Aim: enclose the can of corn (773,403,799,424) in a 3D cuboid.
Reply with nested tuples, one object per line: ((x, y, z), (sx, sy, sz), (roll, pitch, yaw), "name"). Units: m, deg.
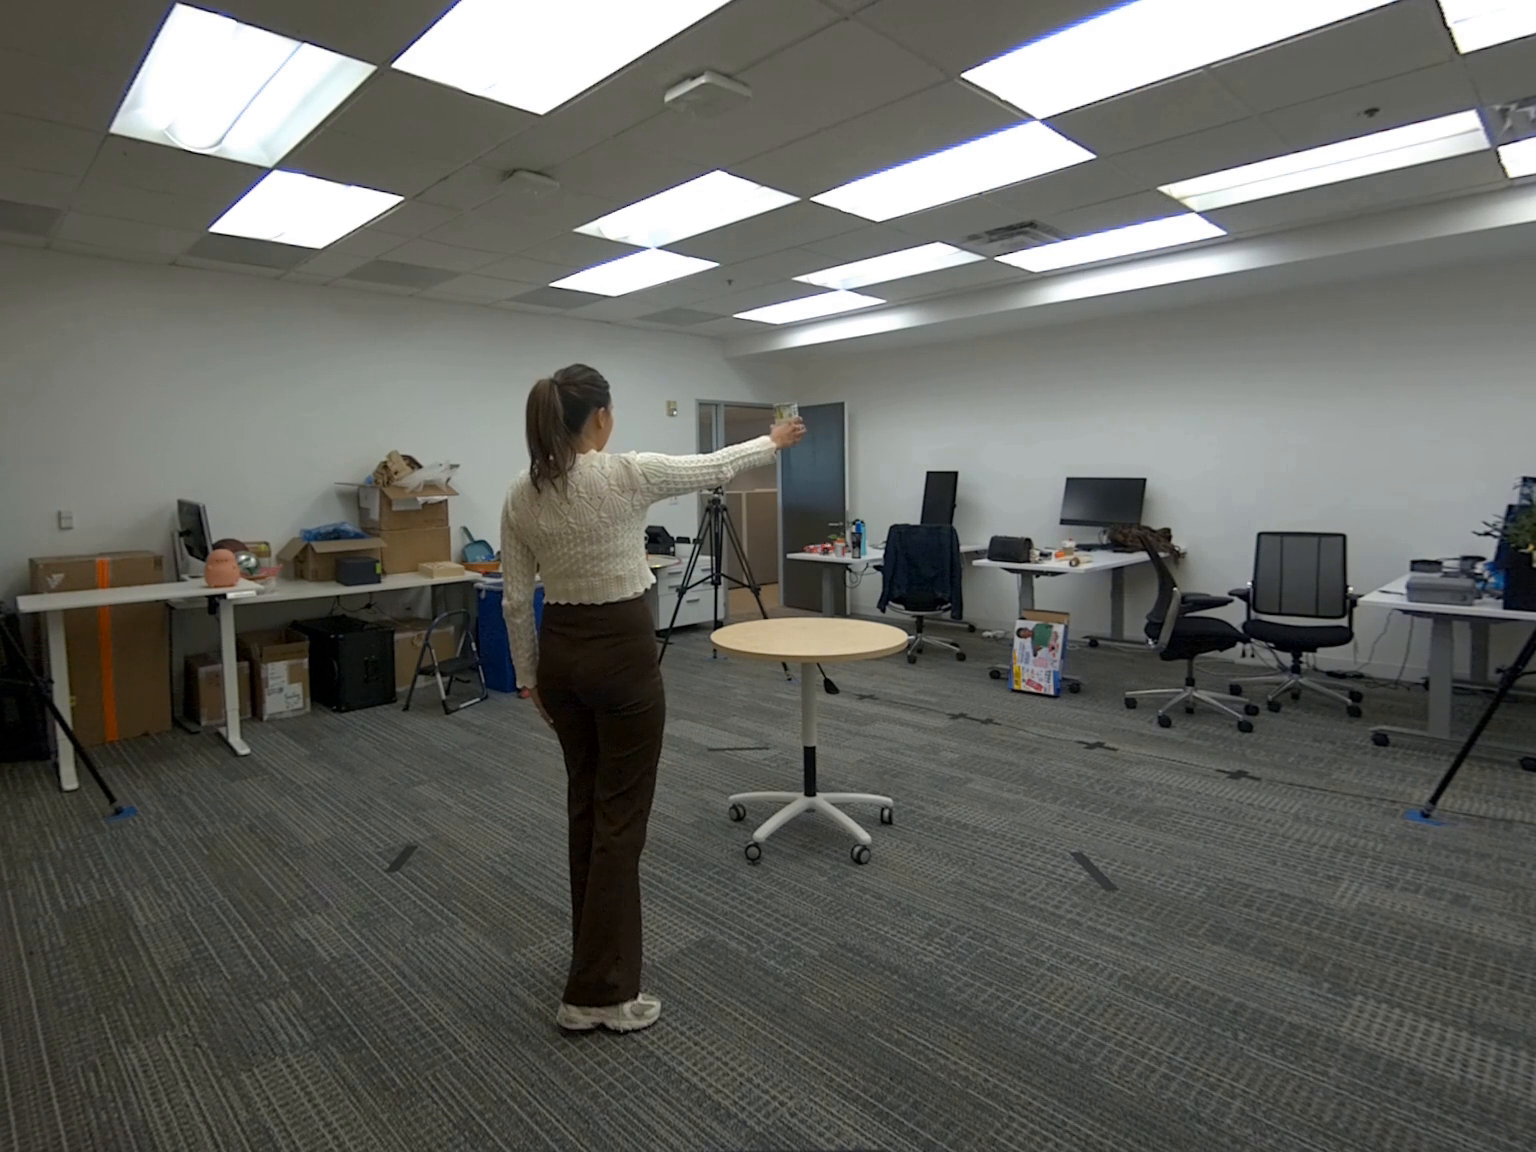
((0.057, -0.495, 2.713), (0.074, 0.110, 0.075), (-8, 10, 0), "can of corn")
